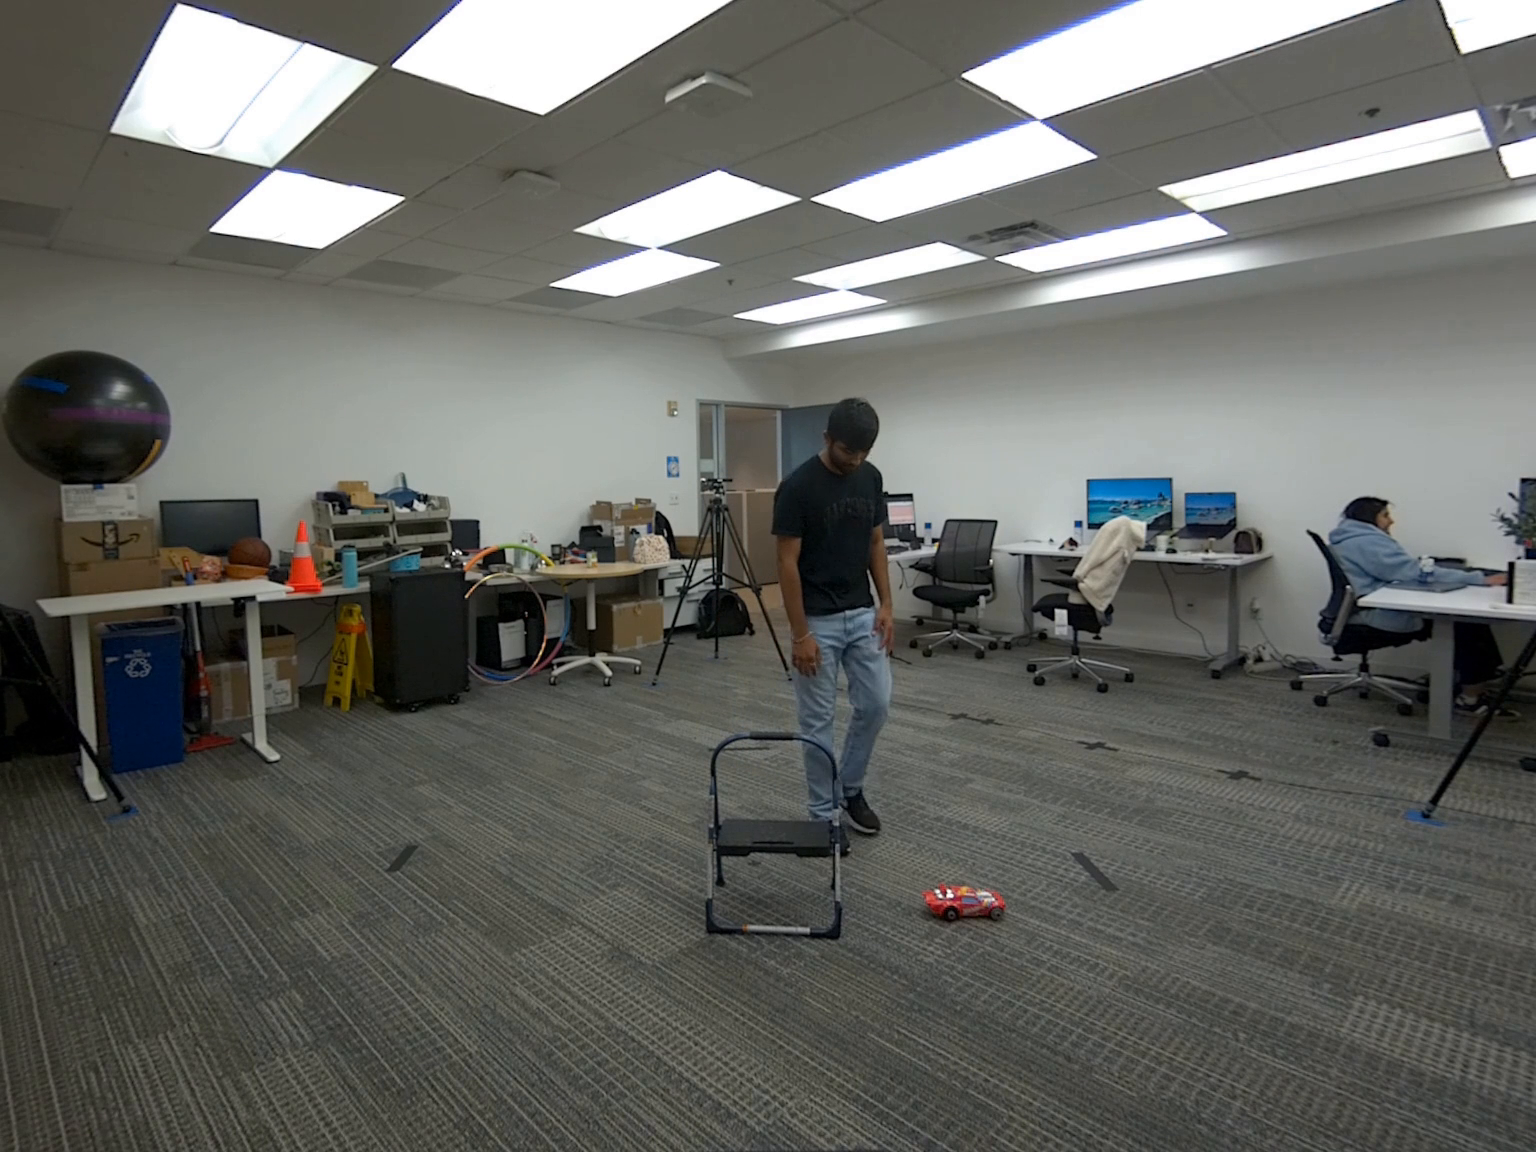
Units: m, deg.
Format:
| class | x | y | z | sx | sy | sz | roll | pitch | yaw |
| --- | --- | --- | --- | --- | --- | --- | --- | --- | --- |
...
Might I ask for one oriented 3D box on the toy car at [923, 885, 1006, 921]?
| class | x | y | z | sx | sy | sz | roll | pitch | yaw |
| --- | --- | --- | --- | --- | --- | --- | --- | --- | --- |
| toy car | 0.624 | 1.041 | 2.718 | 0.254 | 0.083 | 0.131 | 10 | 5 | -3 |
